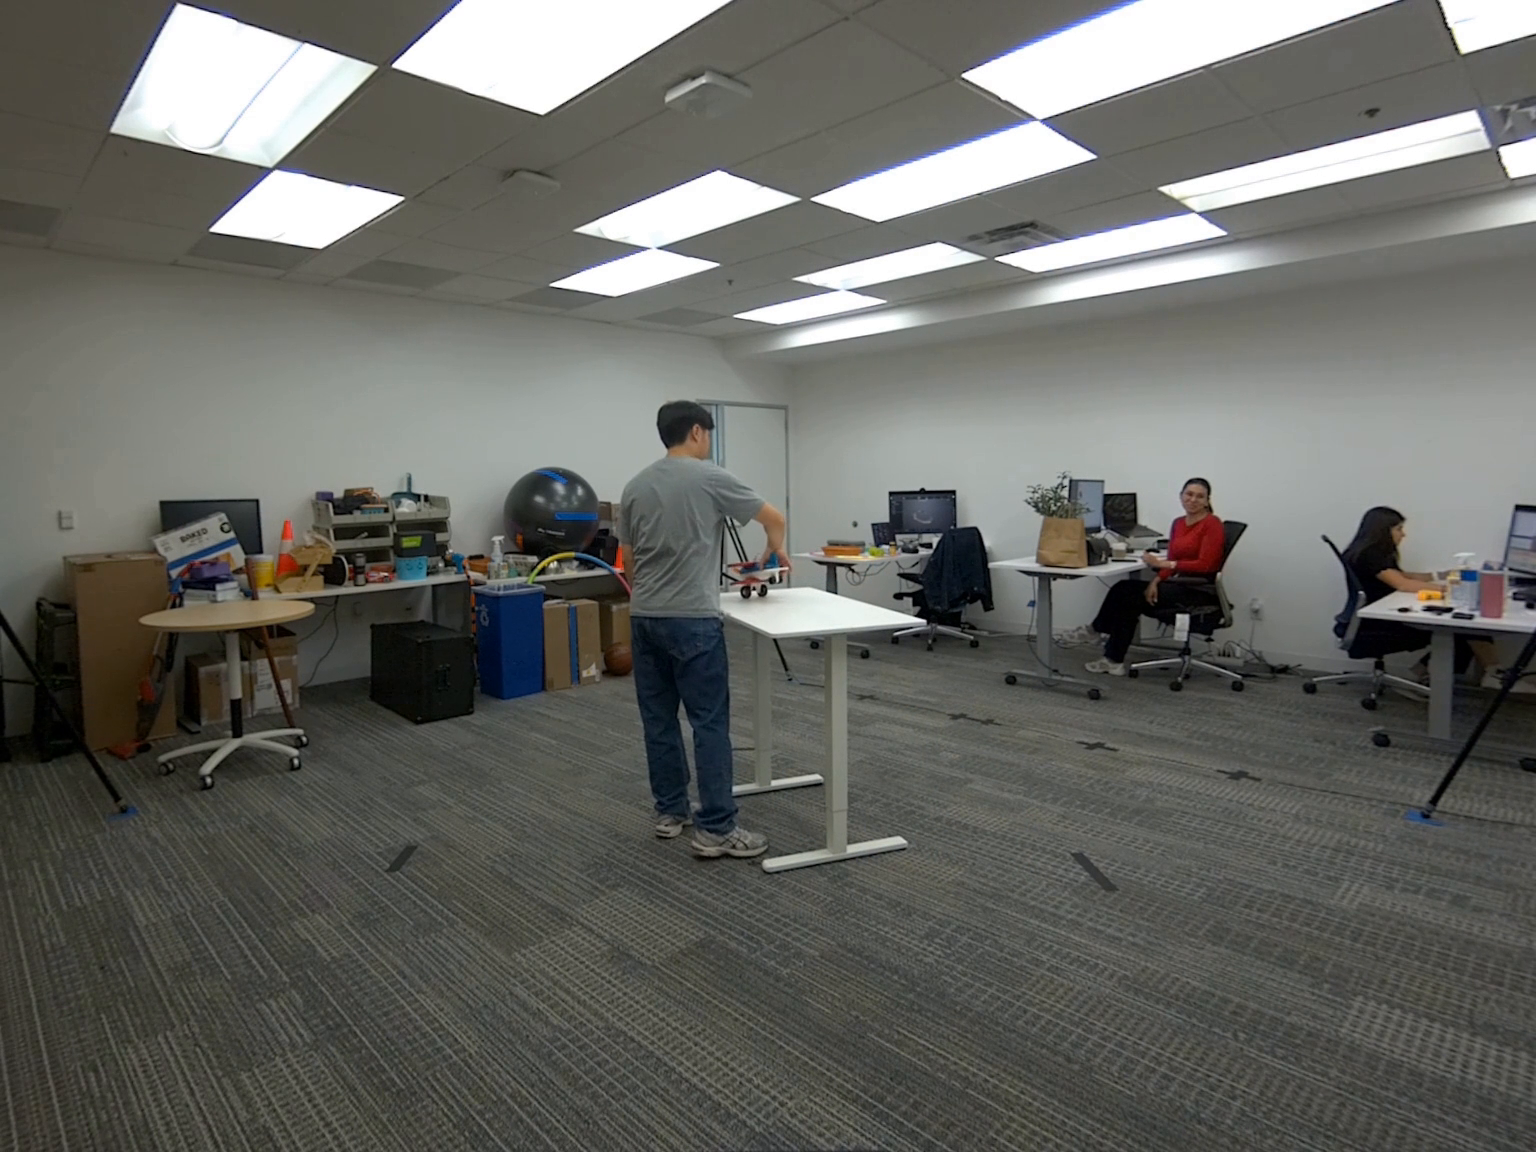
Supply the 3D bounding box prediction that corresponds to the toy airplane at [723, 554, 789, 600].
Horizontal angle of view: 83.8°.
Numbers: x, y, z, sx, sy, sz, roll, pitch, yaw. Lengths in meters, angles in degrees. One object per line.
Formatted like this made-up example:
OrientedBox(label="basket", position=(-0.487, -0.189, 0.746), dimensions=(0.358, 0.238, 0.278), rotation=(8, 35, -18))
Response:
OrientedBox(label="toy airplane", position=(-0.016, -0.009, 3.656), dimensions=(0.262, 0.159, 0.244), rotation=(-22, -15, 26))
